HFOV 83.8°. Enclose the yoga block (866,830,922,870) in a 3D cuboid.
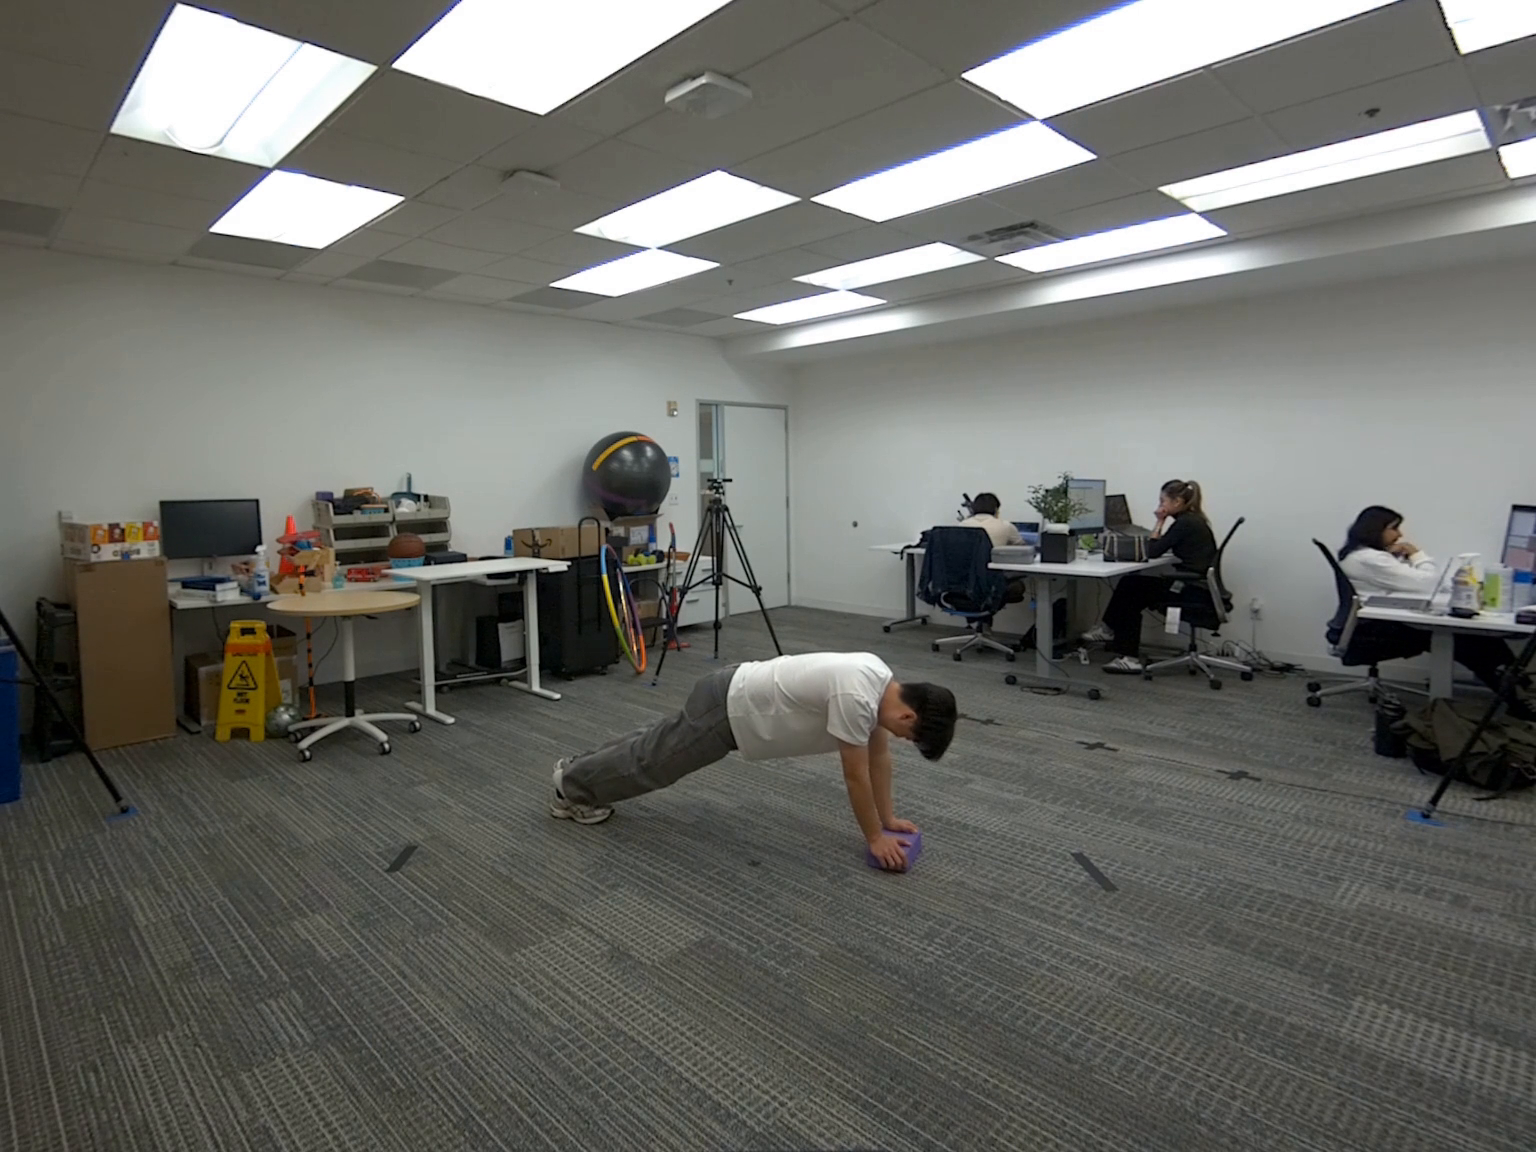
[{"bbox_3d":[0.467,1.001,3.138,0.152,0.076,0.224,3,5,25],"label":"yoga block"}]
